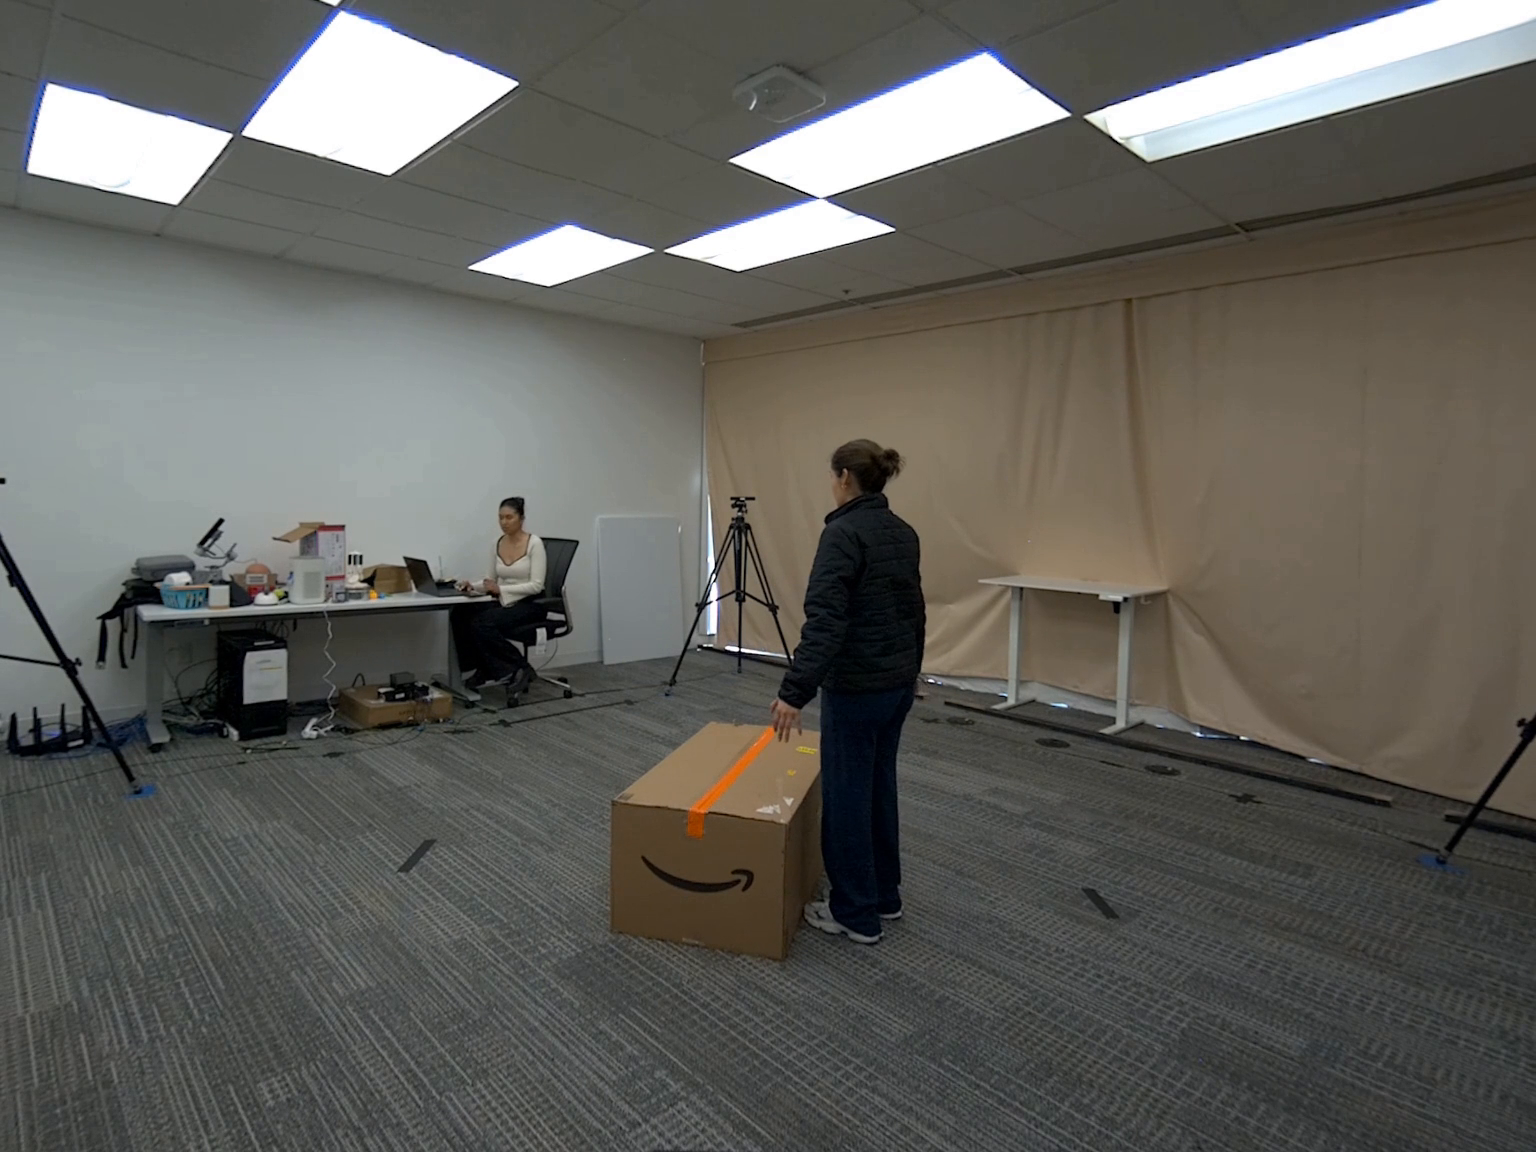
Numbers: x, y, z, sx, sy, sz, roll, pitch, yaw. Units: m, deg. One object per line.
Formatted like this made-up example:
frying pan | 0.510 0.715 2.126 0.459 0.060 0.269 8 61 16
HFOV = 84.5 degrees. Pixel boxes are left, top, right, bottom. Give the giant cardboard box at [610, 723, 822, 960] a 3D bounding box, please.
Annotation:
giant cardboard box | -0.108 0.893 3.075 0.584 0.425 1.016 3 5 14
